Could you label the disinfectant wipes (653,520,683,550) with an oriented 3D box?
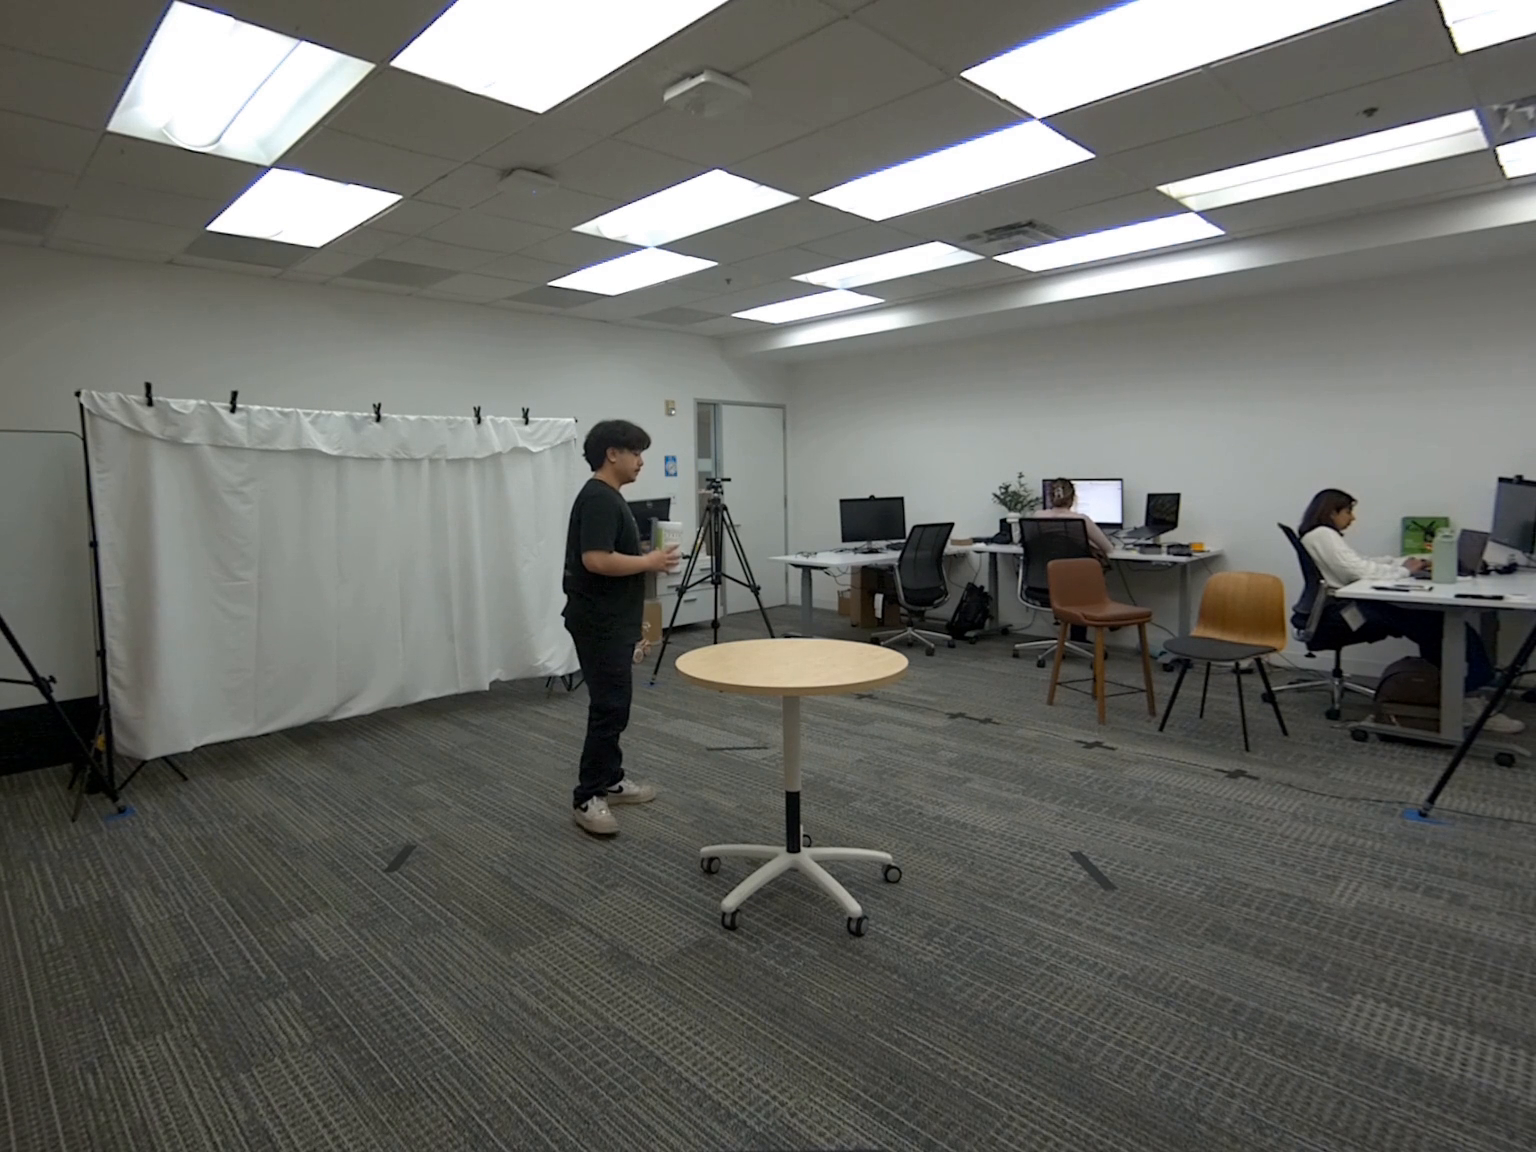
[{"bbox_3d":[-0.425,-0.125,3.646,0.118,0.217,0.118,2,0,-2],"label":"disinfectant wipes"}]
